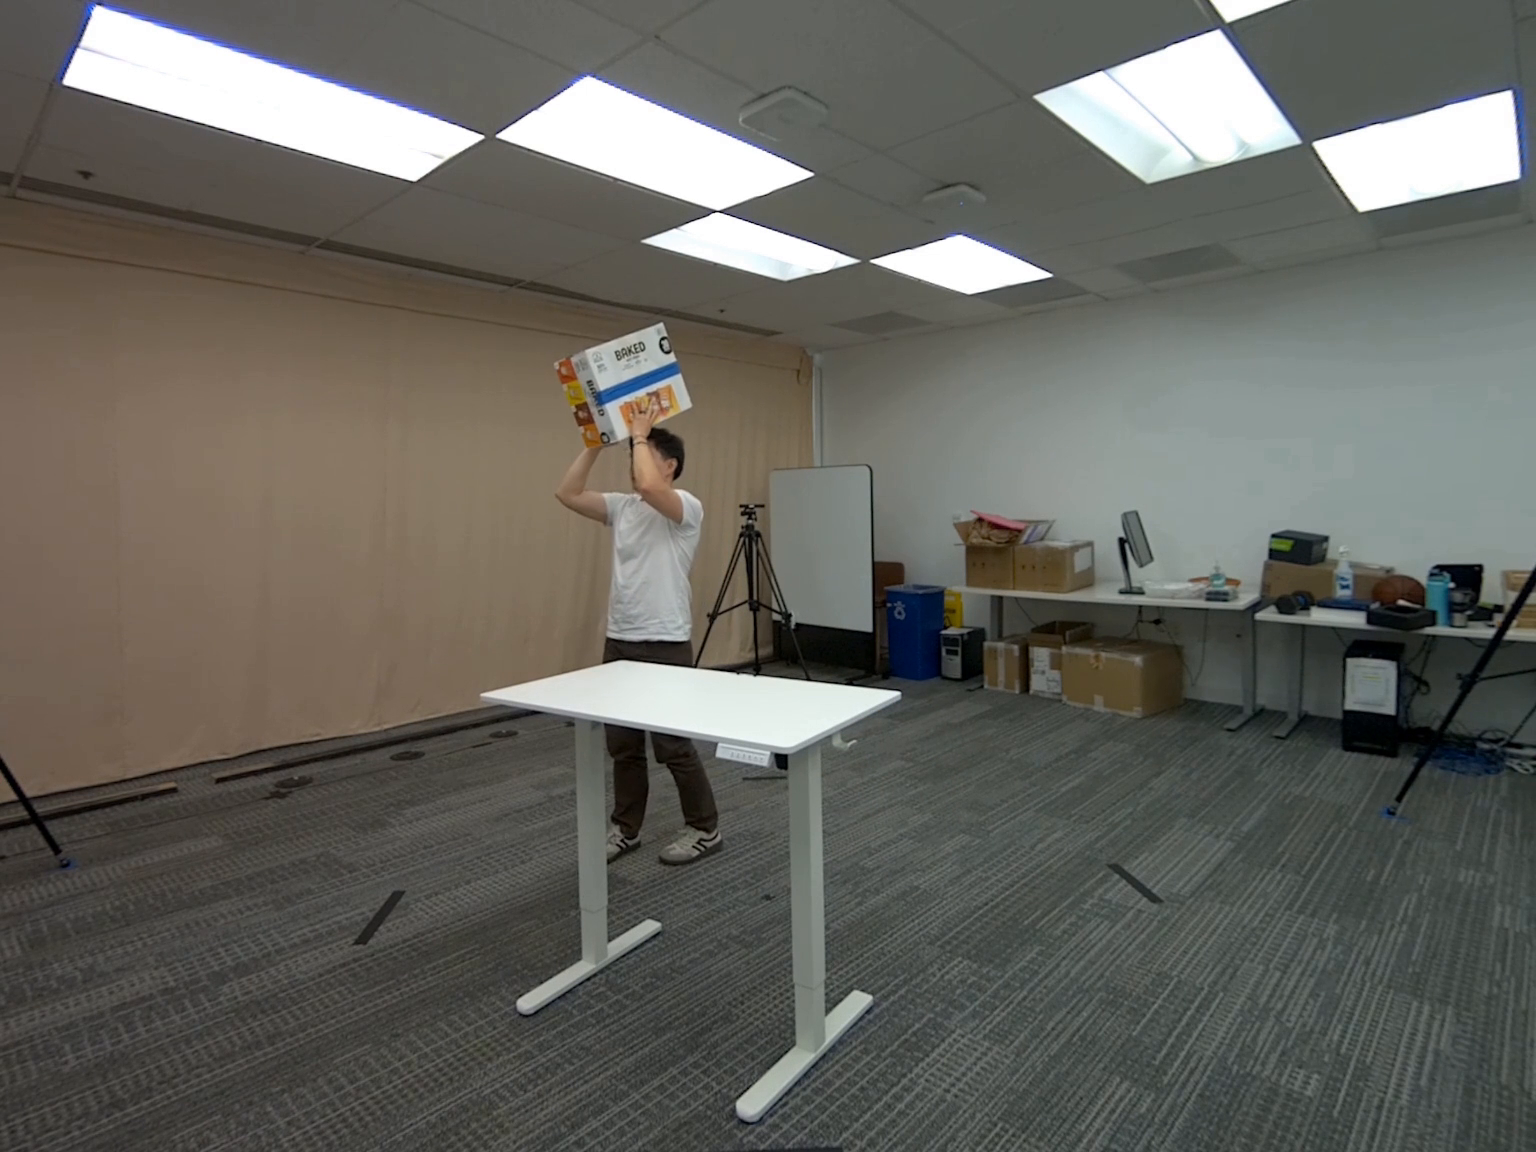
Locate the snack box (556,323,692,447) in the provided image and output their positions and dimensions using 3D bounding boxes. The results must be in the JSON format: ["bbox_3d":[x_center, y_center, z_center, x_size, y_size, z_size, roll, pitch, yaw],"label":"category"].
[{"bbox_3d":[-0.542,-0.726,3.212,0.212,0.335,0.398,-3,24,46],"label":"snack box"}]
